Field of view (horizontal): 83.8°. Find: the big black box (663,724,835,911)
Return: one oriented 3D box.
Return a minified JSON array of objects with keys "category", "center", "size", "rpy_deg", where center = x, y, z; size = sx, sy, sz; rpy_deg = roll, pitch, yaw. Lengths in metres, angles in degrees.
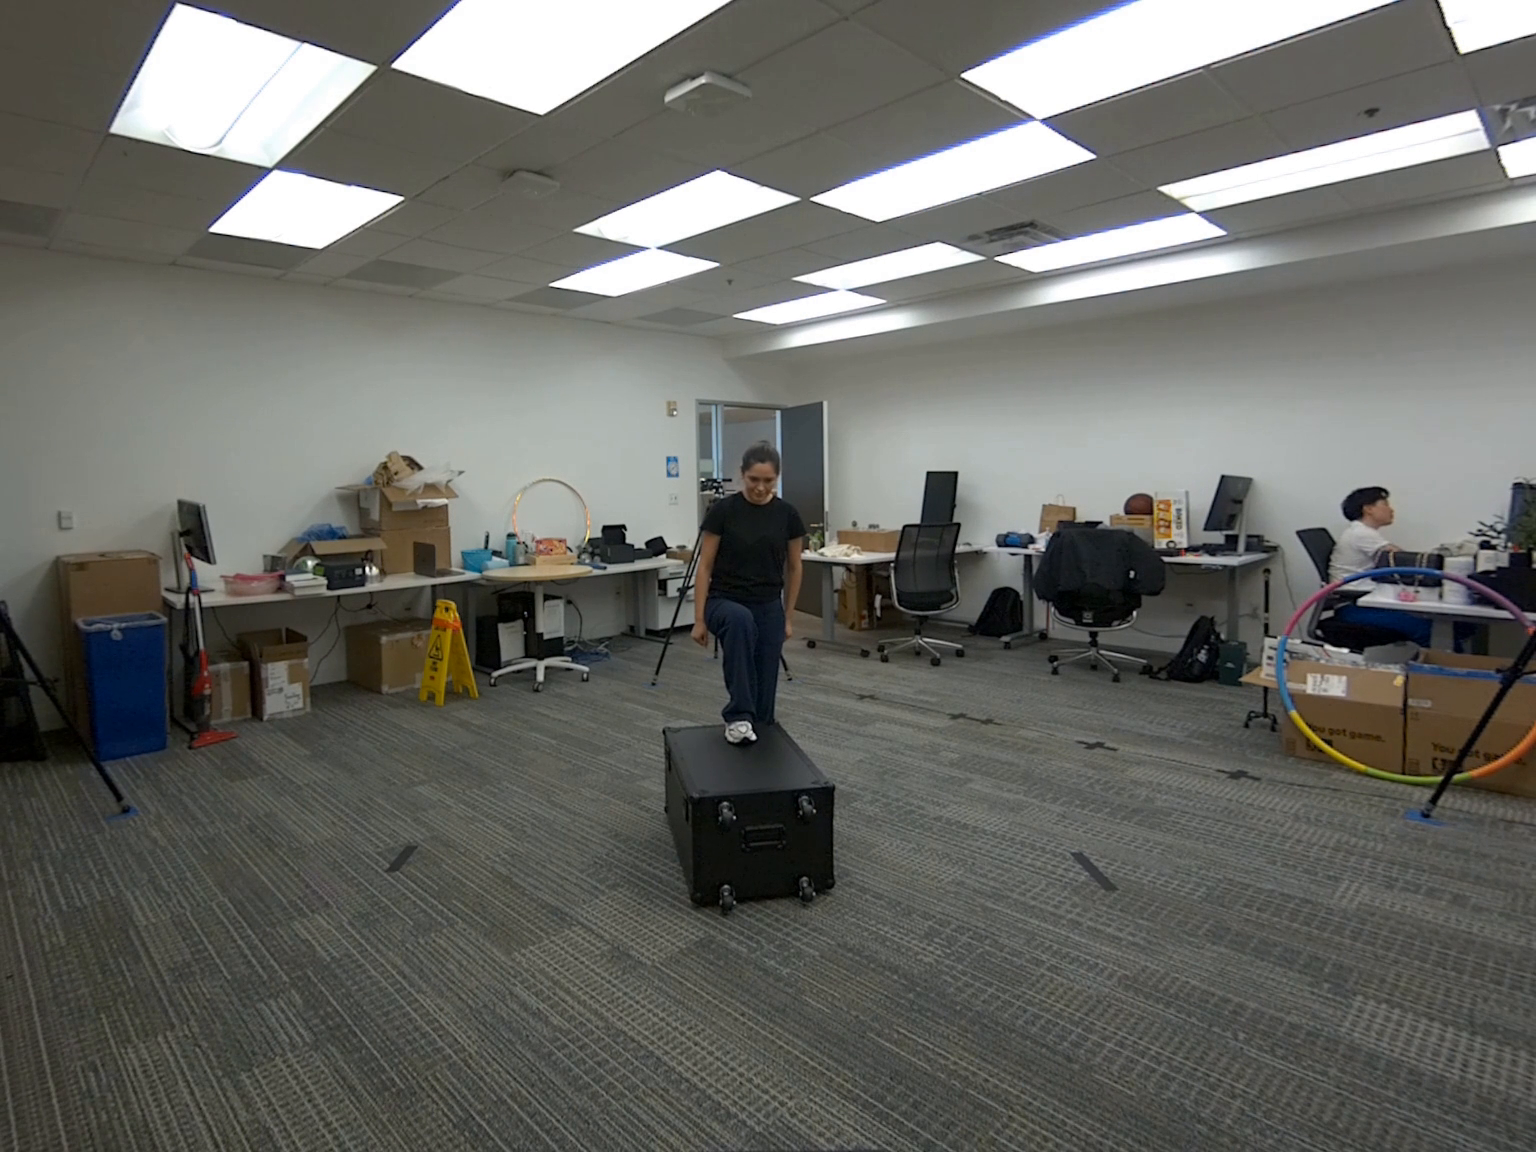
[{"category":"big black box","center":[-0.098,0.844,3.164],"size":[0.515,0.394,0.875],"rpy_deg":[-2,6,-13]}]
